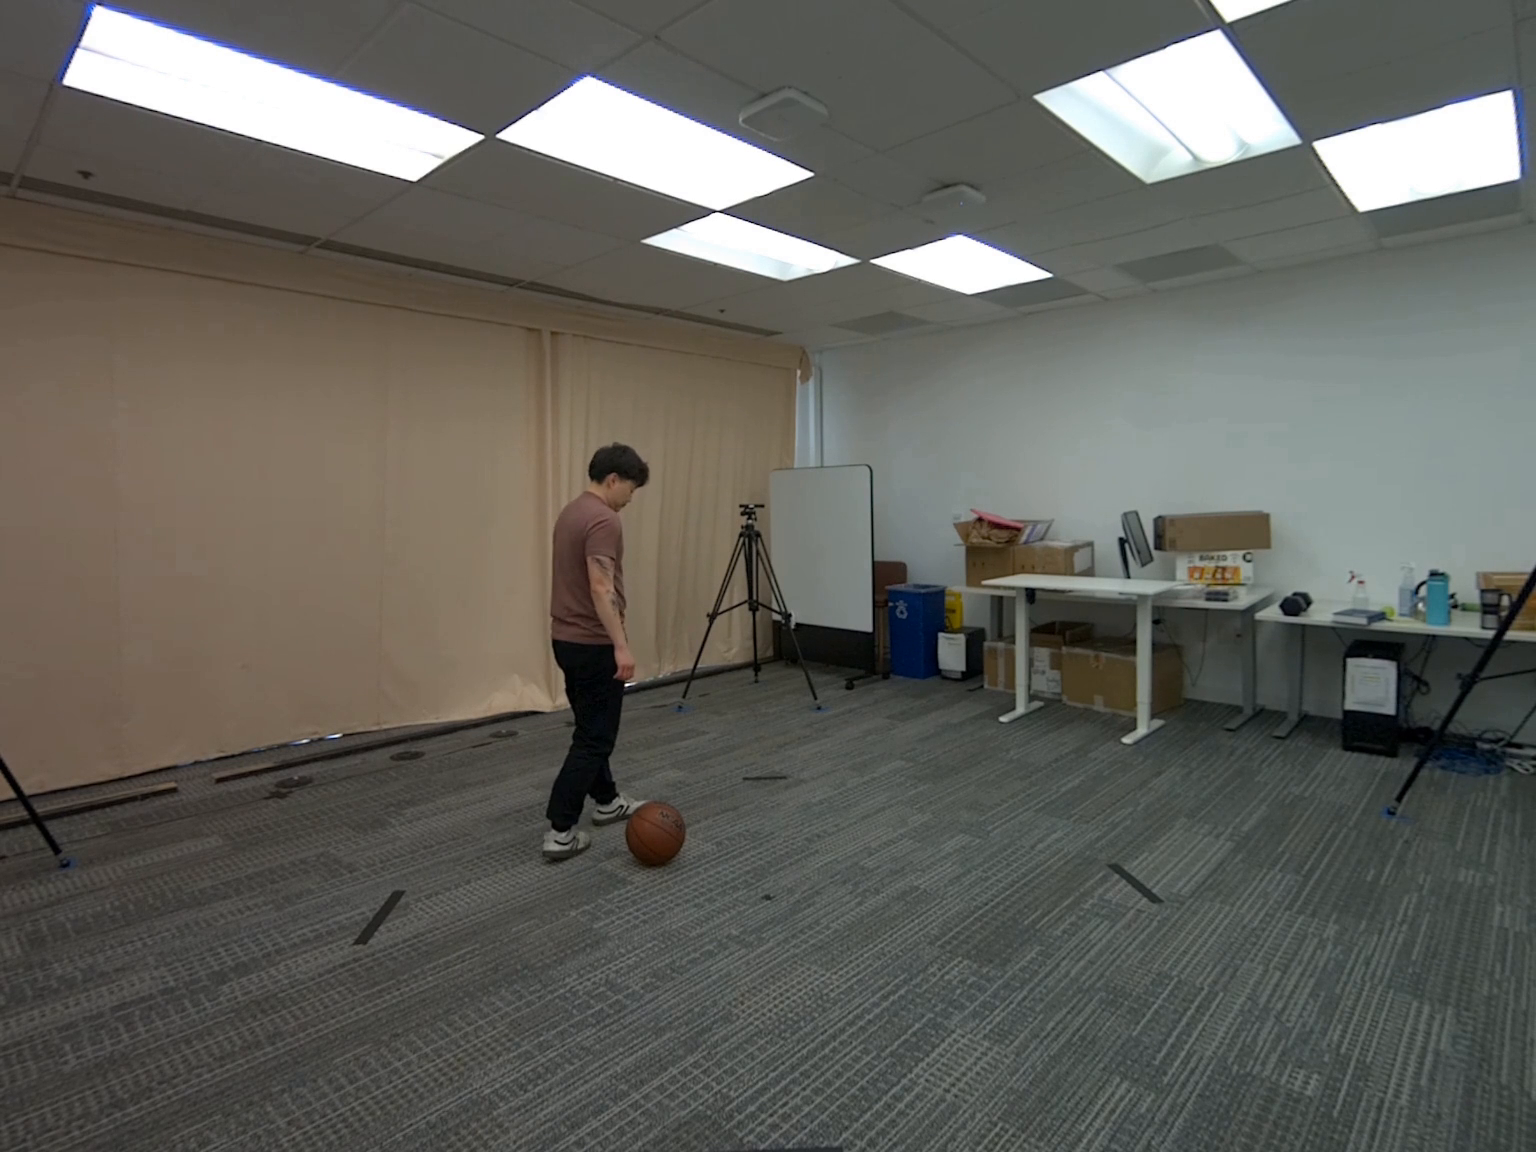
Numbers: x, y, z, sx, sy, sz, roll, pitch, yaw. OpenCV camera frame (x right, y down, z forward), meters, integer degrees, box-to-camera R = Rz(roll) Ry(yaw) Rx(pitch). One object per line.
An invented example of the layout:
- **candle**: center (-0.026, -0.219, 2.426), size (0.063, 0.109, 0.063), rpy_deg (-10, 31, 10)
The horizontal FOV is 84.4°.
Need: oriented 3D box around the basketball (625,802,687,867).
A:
- **basketball**: center (-0.441, 1.006, 3.296), size (0.236, 0.235, 0.237), rpy_deg (-1, 4, -2)
